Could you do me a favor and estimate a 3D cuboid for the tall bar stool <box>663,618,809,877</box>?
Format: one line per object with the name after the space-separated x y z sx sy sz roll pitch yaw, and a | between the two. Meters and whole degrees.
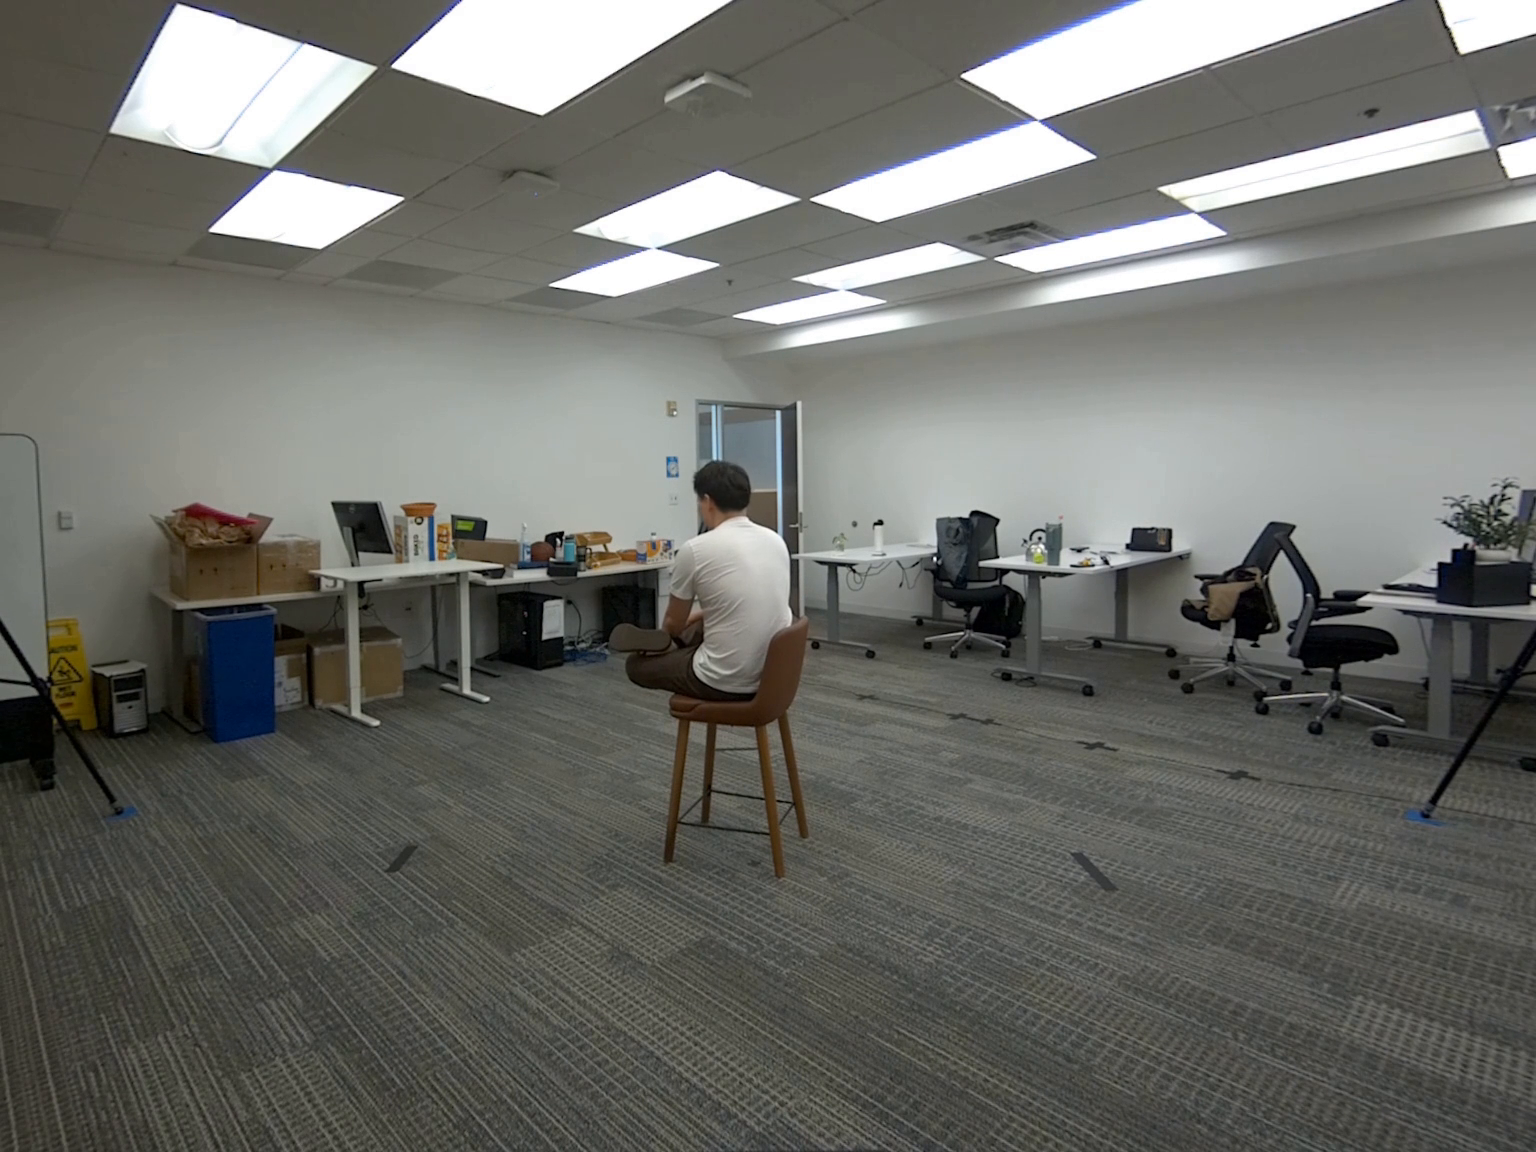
-0.102 0.603 3.210 0.477 0.886 0.449 3 5 20 | tall bar stool
